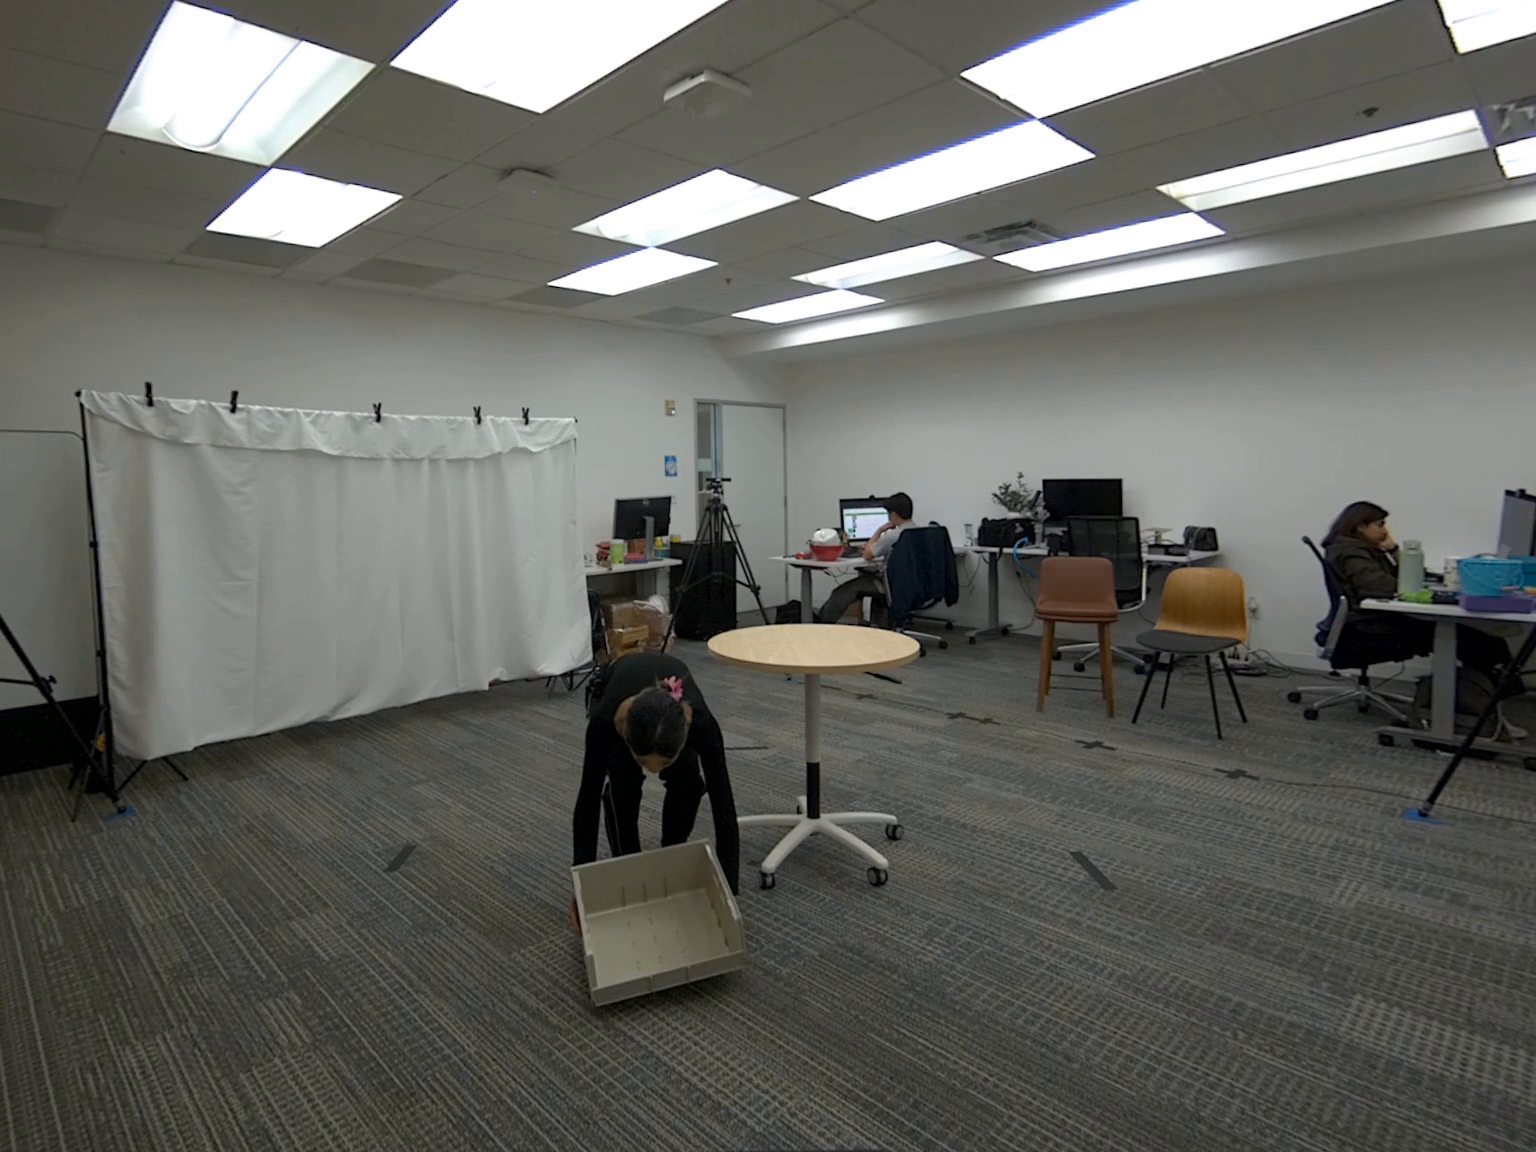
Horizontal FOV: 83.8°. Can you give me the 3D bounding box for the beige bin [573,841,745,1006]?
[{"bbox_3d":[-0.321,0.973,2.414,0.417,0.186,0.388,-8,20,-15],"label":"beige bin"}]
